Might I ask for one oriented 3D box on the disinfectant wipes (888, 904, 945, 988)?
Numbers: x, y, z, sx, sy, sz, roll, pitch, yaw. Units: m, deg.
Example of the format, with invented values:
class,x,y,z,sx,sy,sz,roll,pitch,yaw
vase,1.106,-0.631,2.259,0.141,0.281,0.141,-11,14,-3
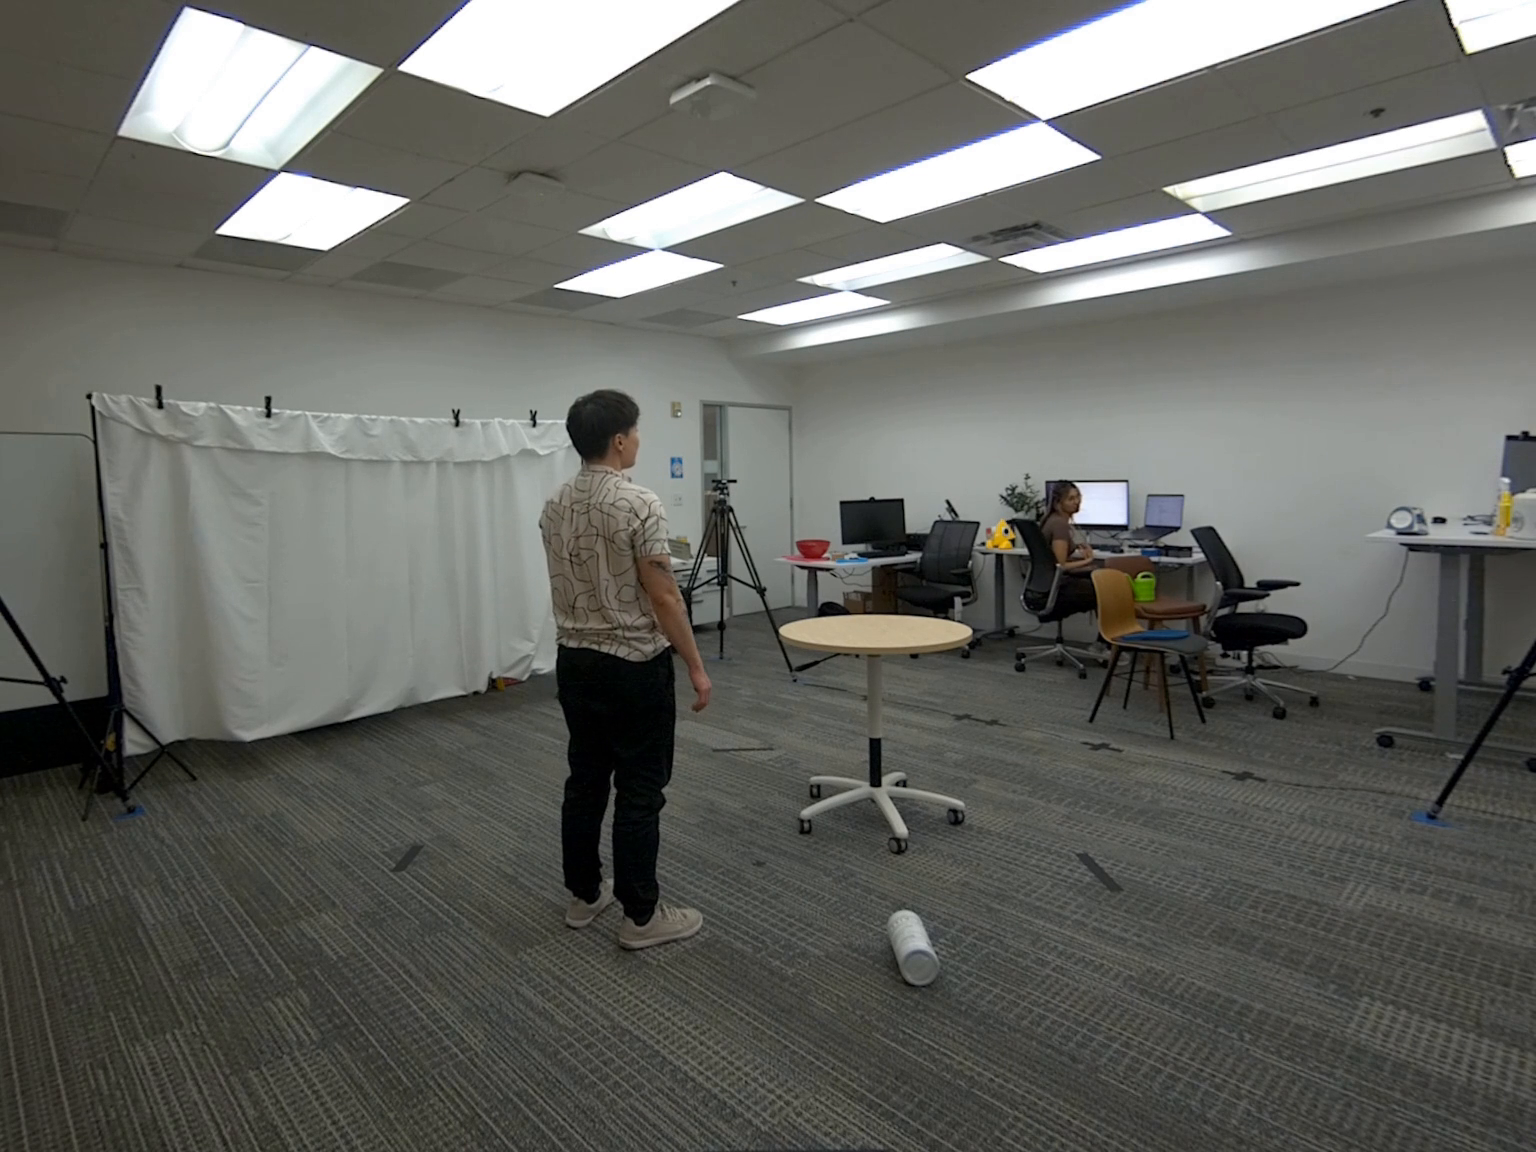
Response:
class,x,y,z,sx,sy,sz,roll,pitch,yaw
disinfectant wipes,0.419,1.050,2.444,0.118,0.117,0.218,-1,7,1
